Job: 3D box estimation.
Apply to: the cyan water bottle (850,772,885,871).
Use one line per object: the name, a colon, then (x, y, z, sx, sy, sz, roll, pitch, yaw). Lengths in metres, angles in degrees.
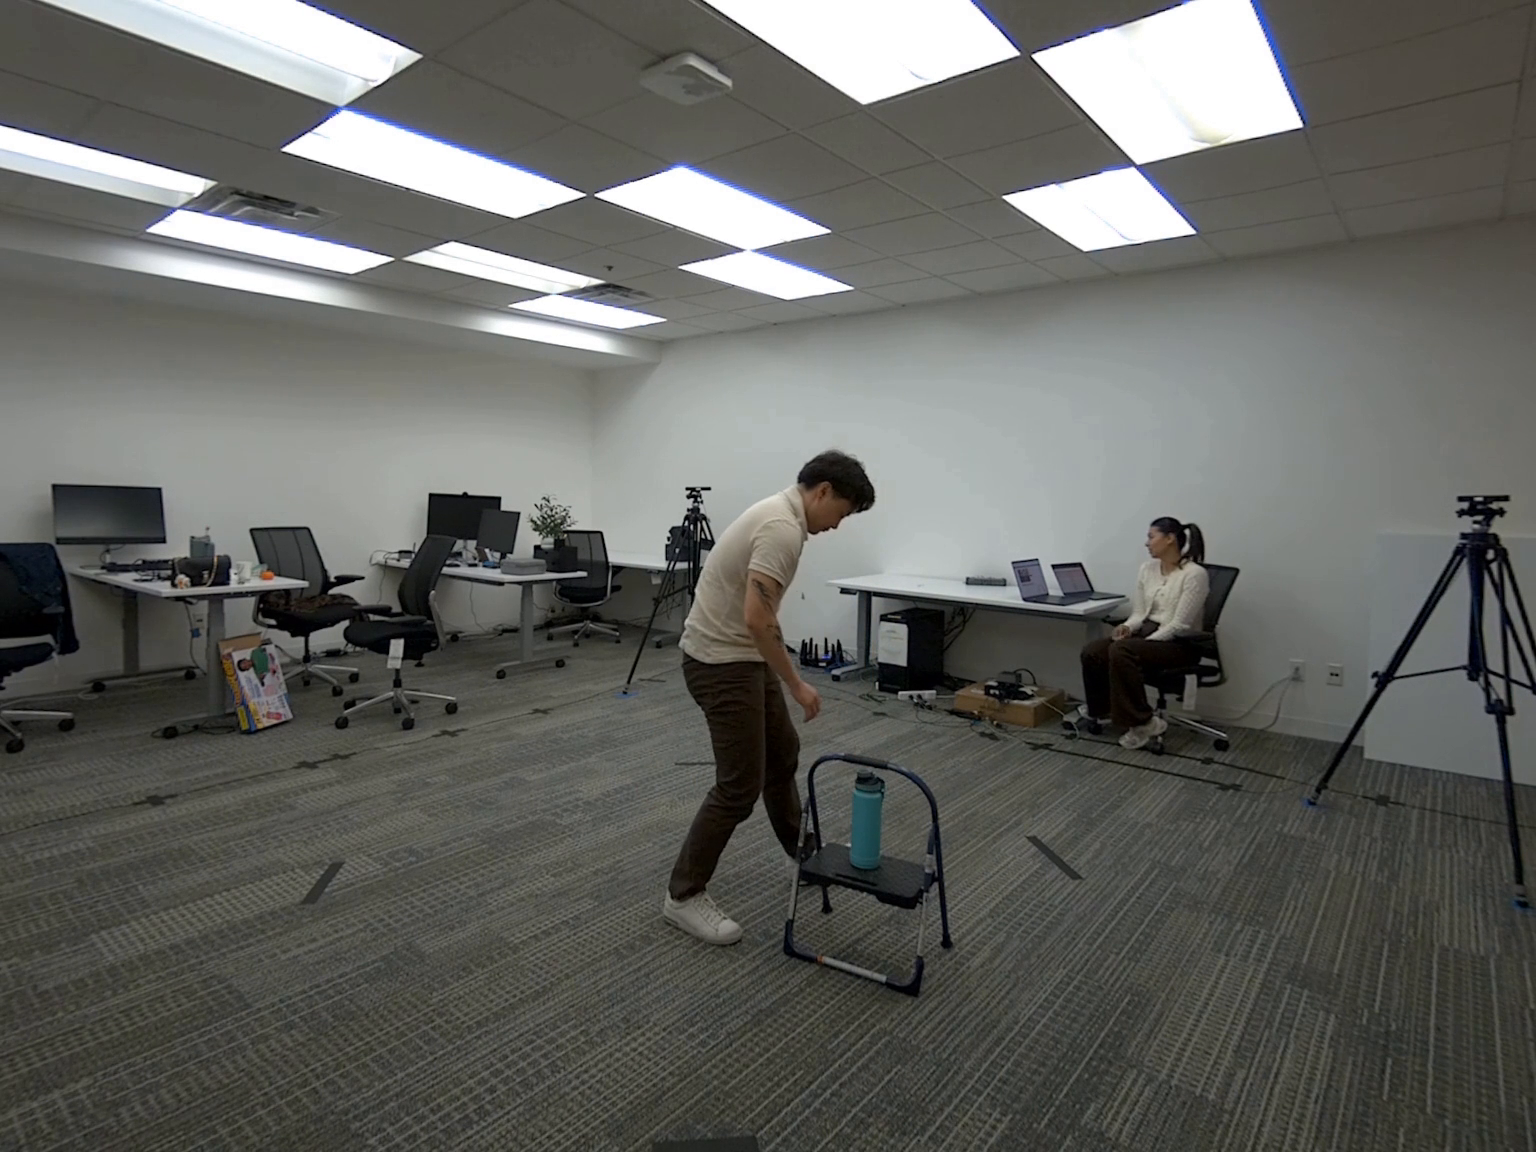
cyan water bottle: (0.290, 0.728, 2.565, 0.092, 0.282, 0.093, 3, 4, -2)
